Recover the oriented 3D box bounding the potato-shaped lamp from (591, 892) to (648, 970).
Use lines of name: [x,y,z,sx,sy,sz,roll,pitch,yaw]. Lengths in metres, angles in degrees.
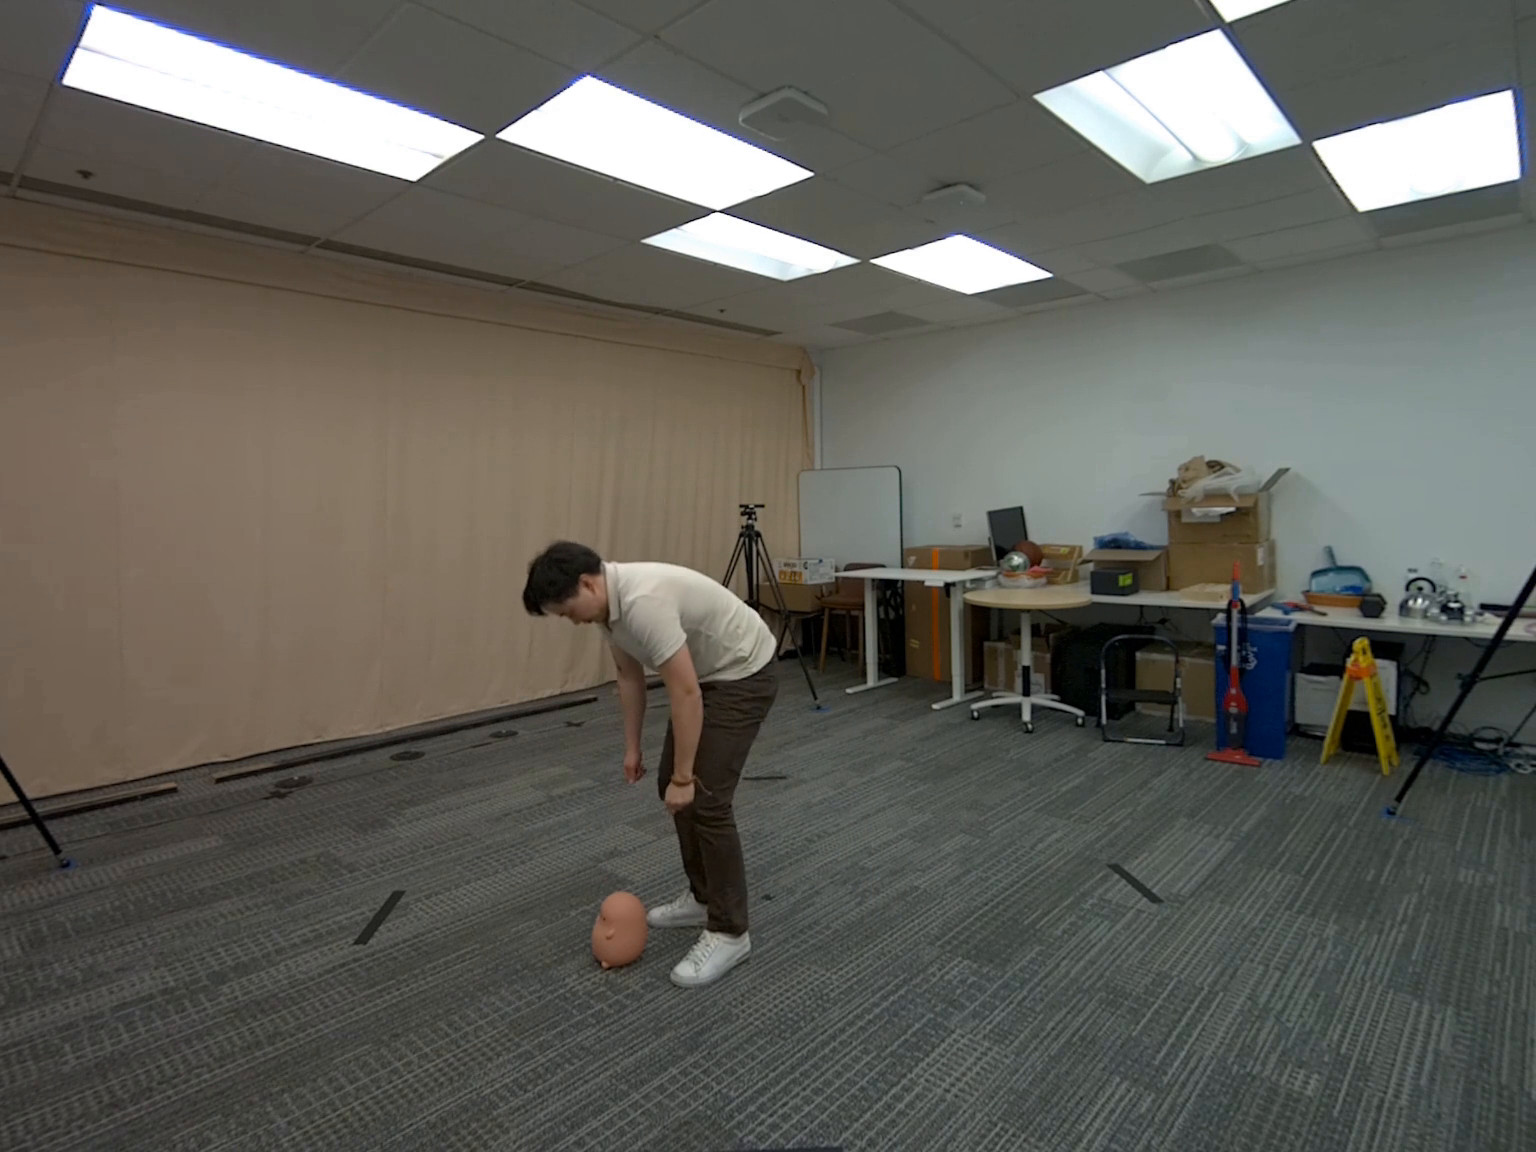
potato-shaped lamp: [-0.464,1.089,2.597,0.167,0.197,0.169,-5,4,-25]
